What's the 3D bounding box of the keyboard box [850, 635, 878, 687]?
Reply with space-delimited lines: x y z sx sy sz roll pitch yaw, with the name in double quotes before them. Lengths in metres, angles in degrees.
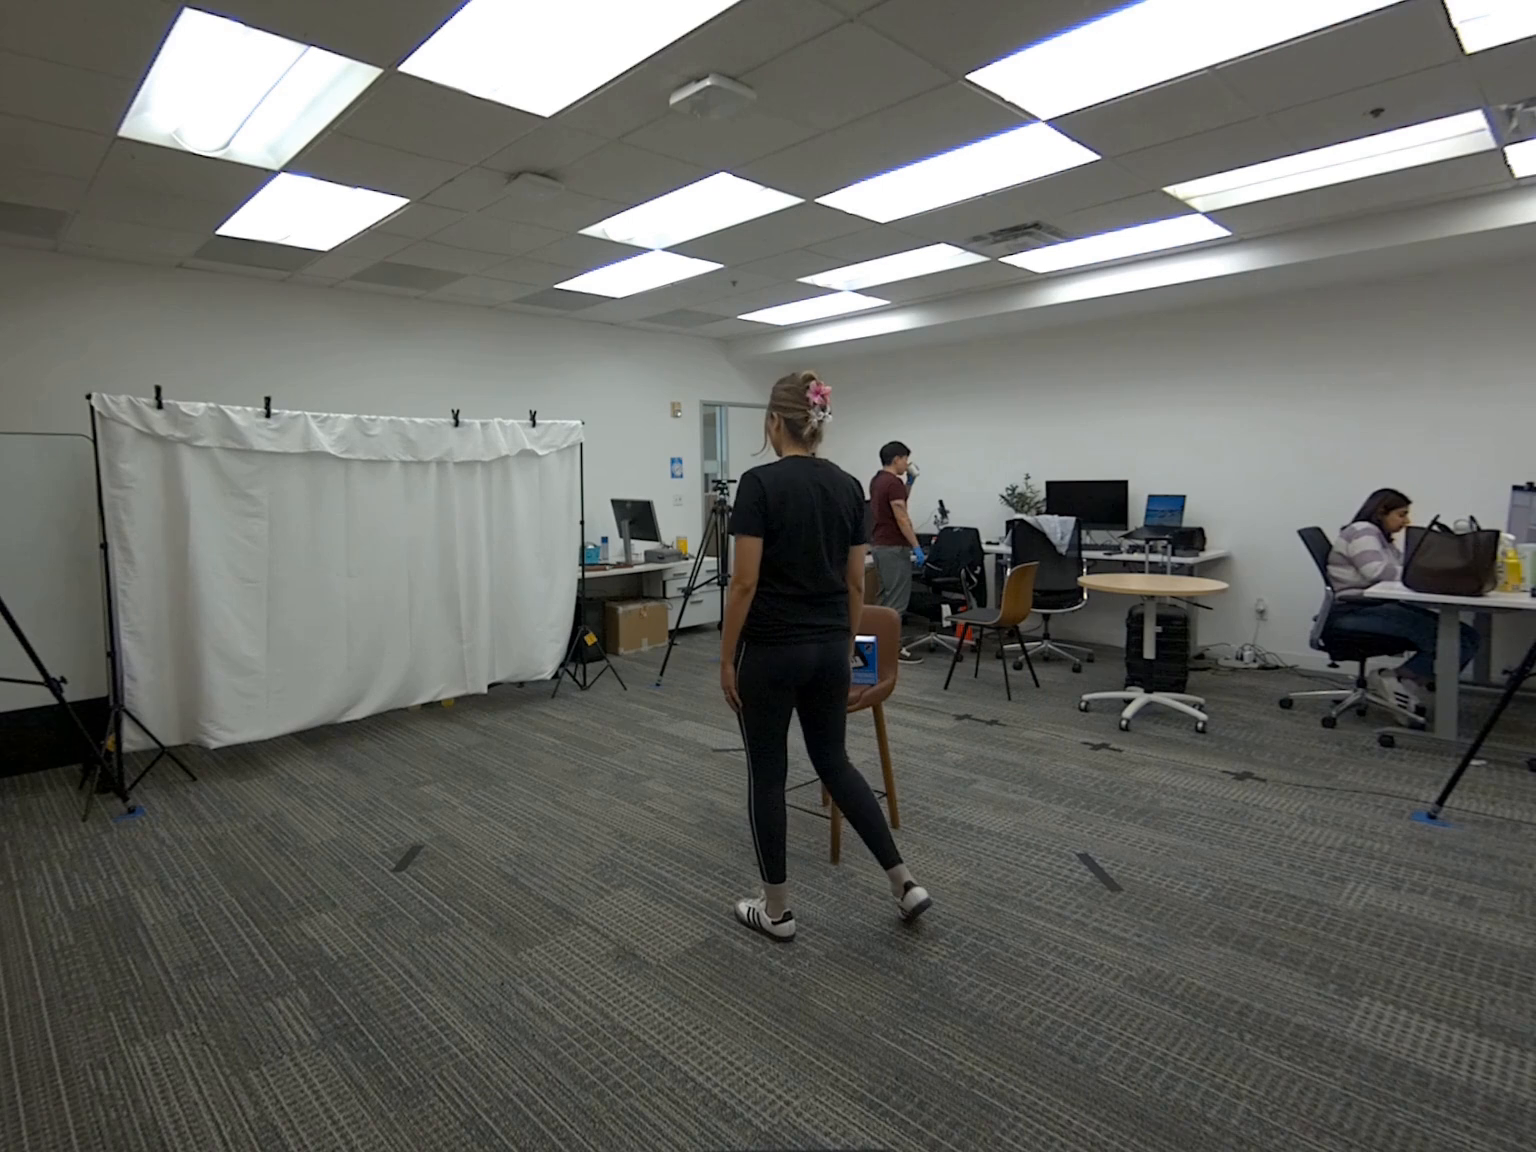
"keyboard box" 0.206 0.316 3.295 0.442 0.174 0.059 1 10 13
